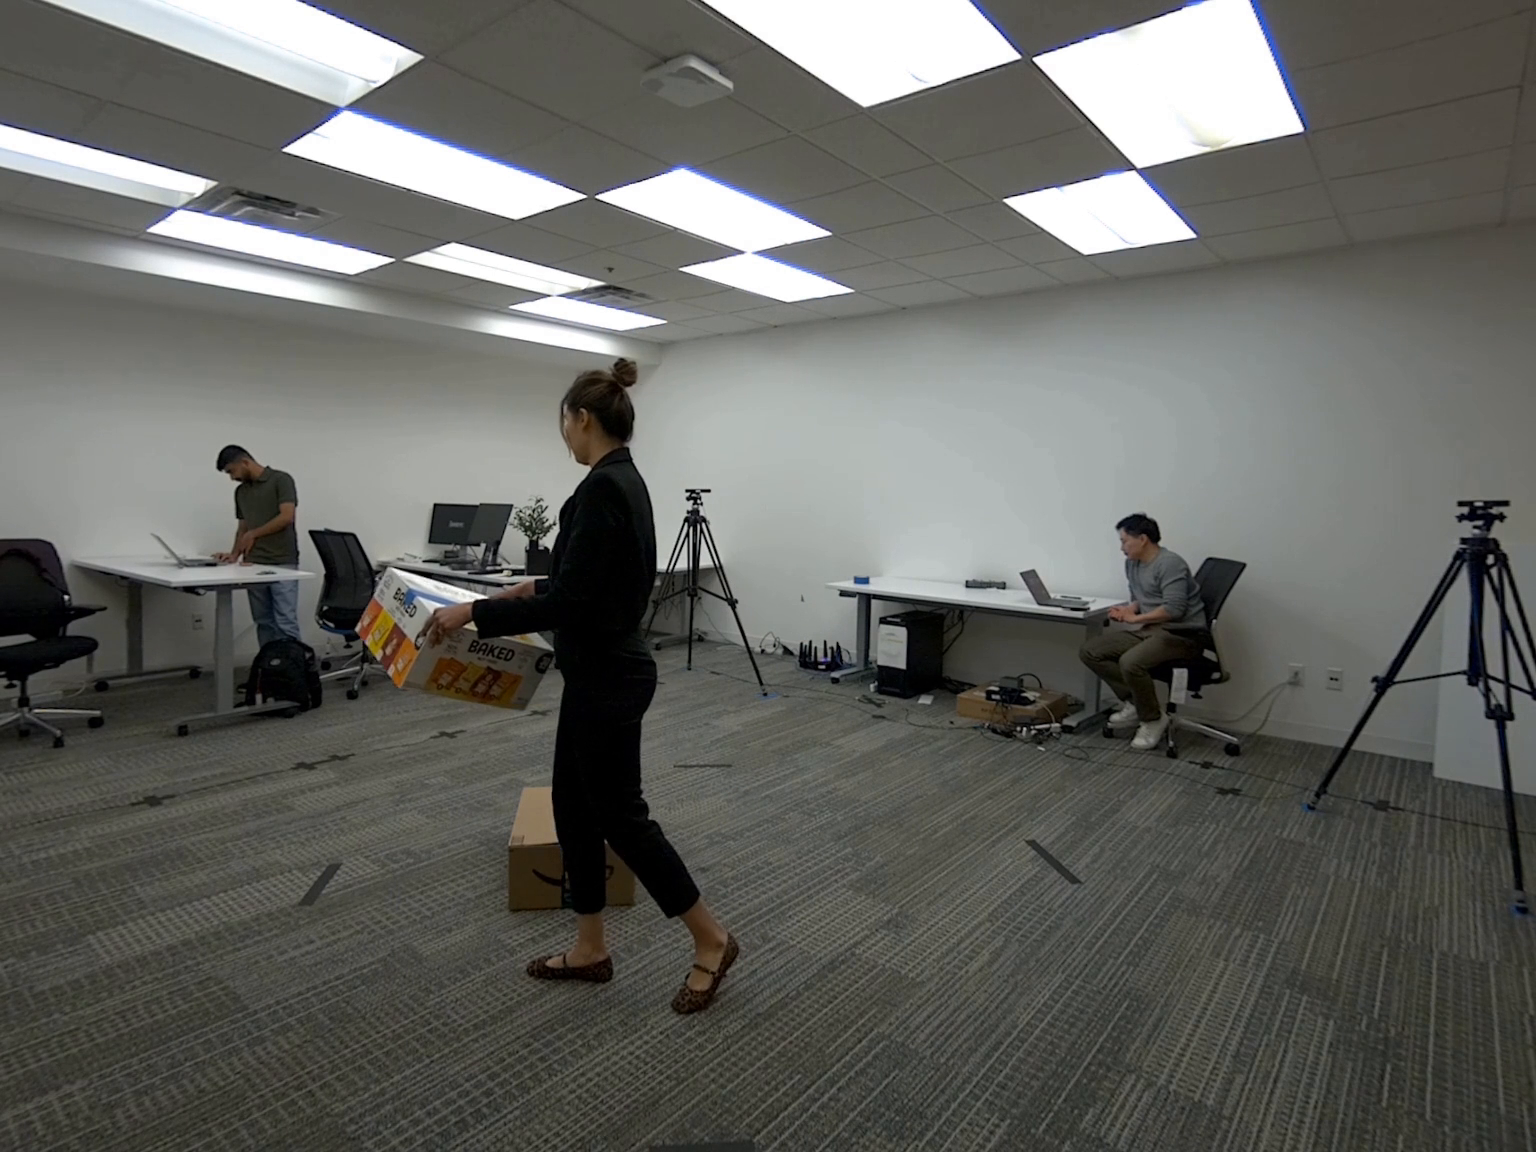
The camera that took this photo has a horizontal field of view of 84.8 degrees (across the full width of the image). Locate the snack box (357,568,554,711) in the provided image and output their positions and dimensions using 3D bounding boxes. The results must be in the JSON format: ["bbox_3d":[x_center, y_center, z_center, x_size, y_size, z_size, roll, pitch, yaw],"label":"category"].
[{"bbox_3d":[-0.886,0.176,2.400,0.355,0.205,0.389,31,4,41],"label":"snack box"}]
